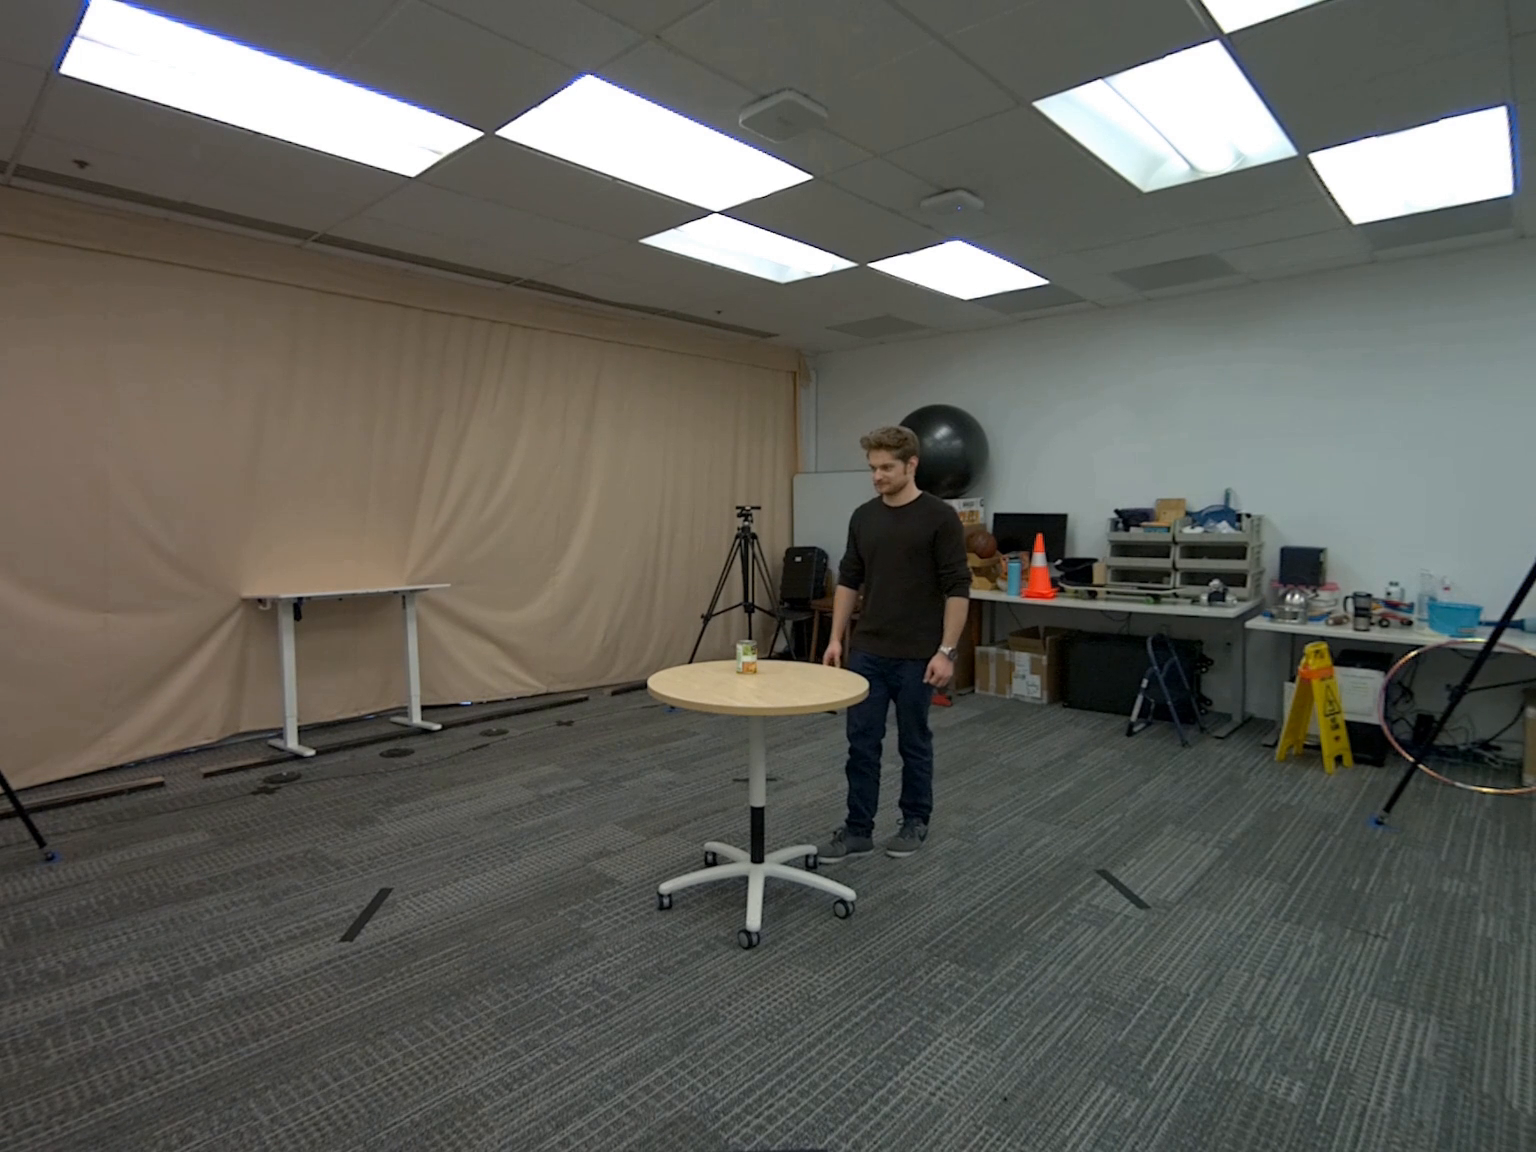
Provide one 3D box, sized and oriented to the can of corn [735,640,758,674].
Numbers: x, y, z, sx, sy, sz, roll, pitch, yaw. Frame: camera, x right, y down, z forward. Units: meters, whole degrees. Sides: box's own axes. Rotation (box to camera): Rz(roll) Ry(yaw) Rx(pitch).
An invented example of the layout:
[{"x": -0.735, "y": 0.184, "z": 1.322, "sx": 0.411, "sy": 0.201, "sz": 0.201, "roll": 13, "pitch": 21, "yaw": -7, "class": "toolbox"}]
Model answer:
[{"x": -0.073, "y": 0.299, "z": 3.065, "sx": 0.074, "sy": 0.111, "sz": 0.074, "roll": 0, "pitch": 4, "yaw": -2, "class": "can of corn"}]
